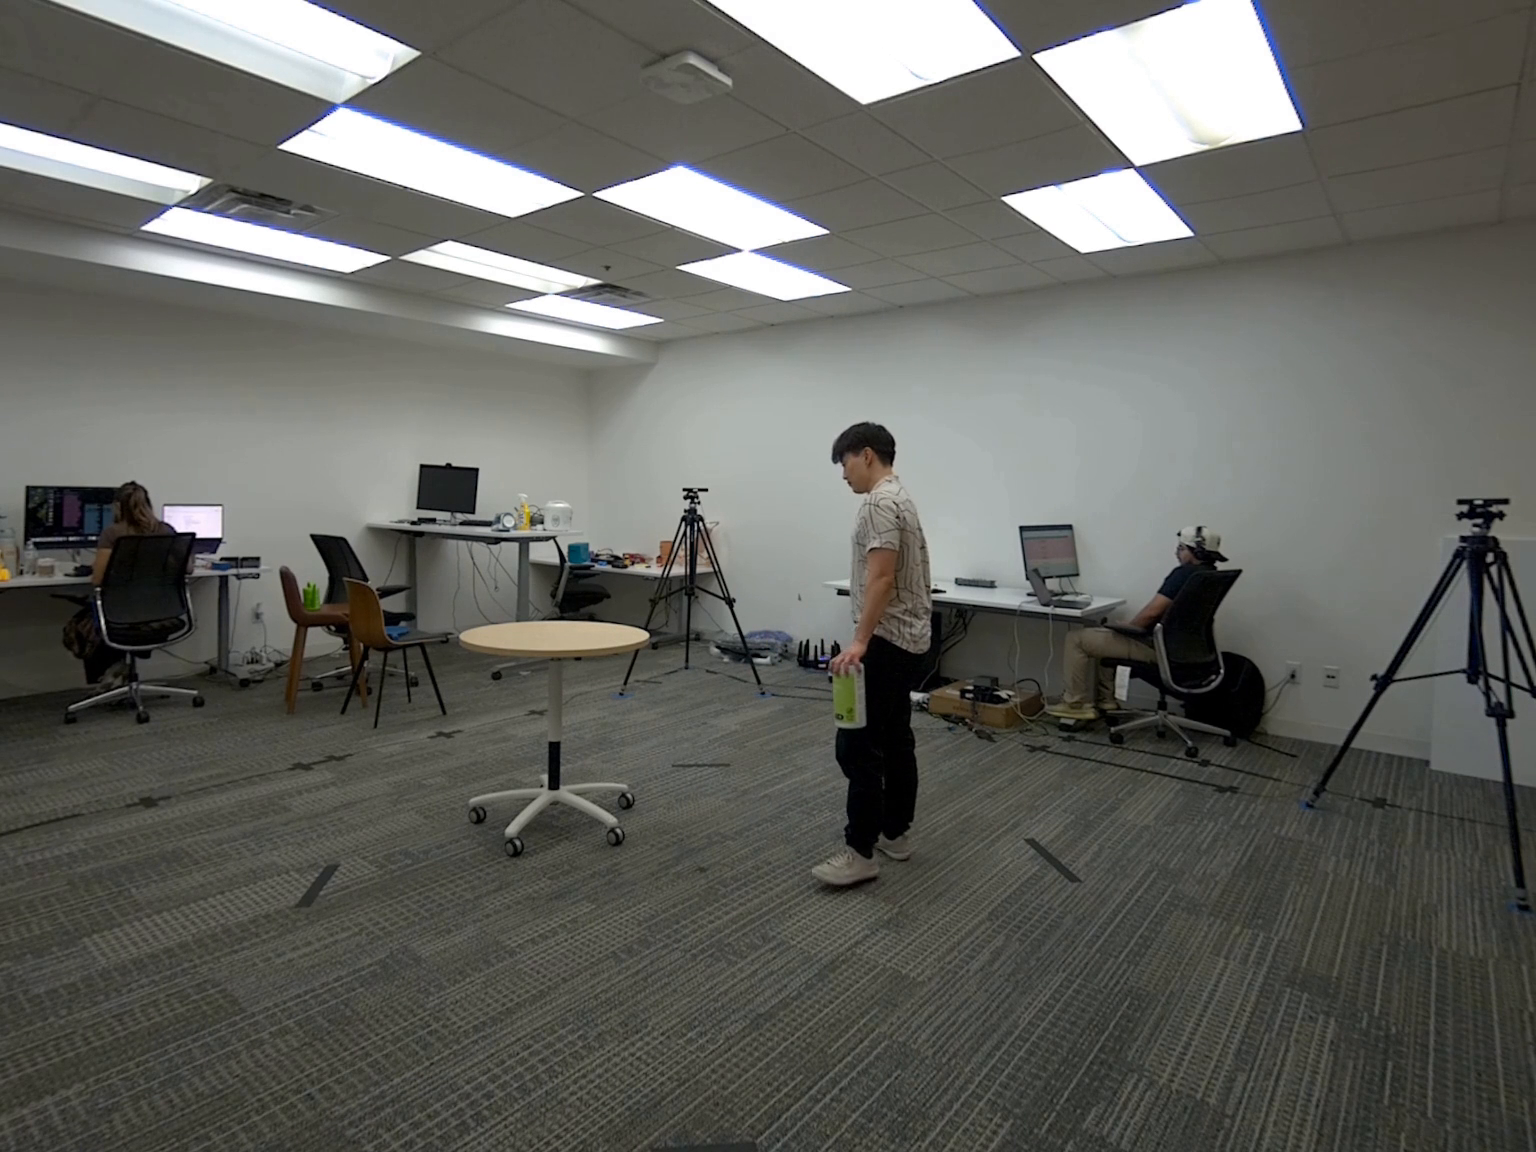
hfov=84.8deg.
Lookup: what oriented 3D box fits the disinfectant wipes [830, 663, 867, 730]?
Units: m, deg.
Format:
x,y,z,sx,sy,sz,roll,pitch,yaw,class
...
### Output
x,y,z,sx,sy,sz,roll,pitch,yaw,class
0.275,0.412,2.951,0.118,0.218,0.118,-2,-1,-2,disinfectant wipes
